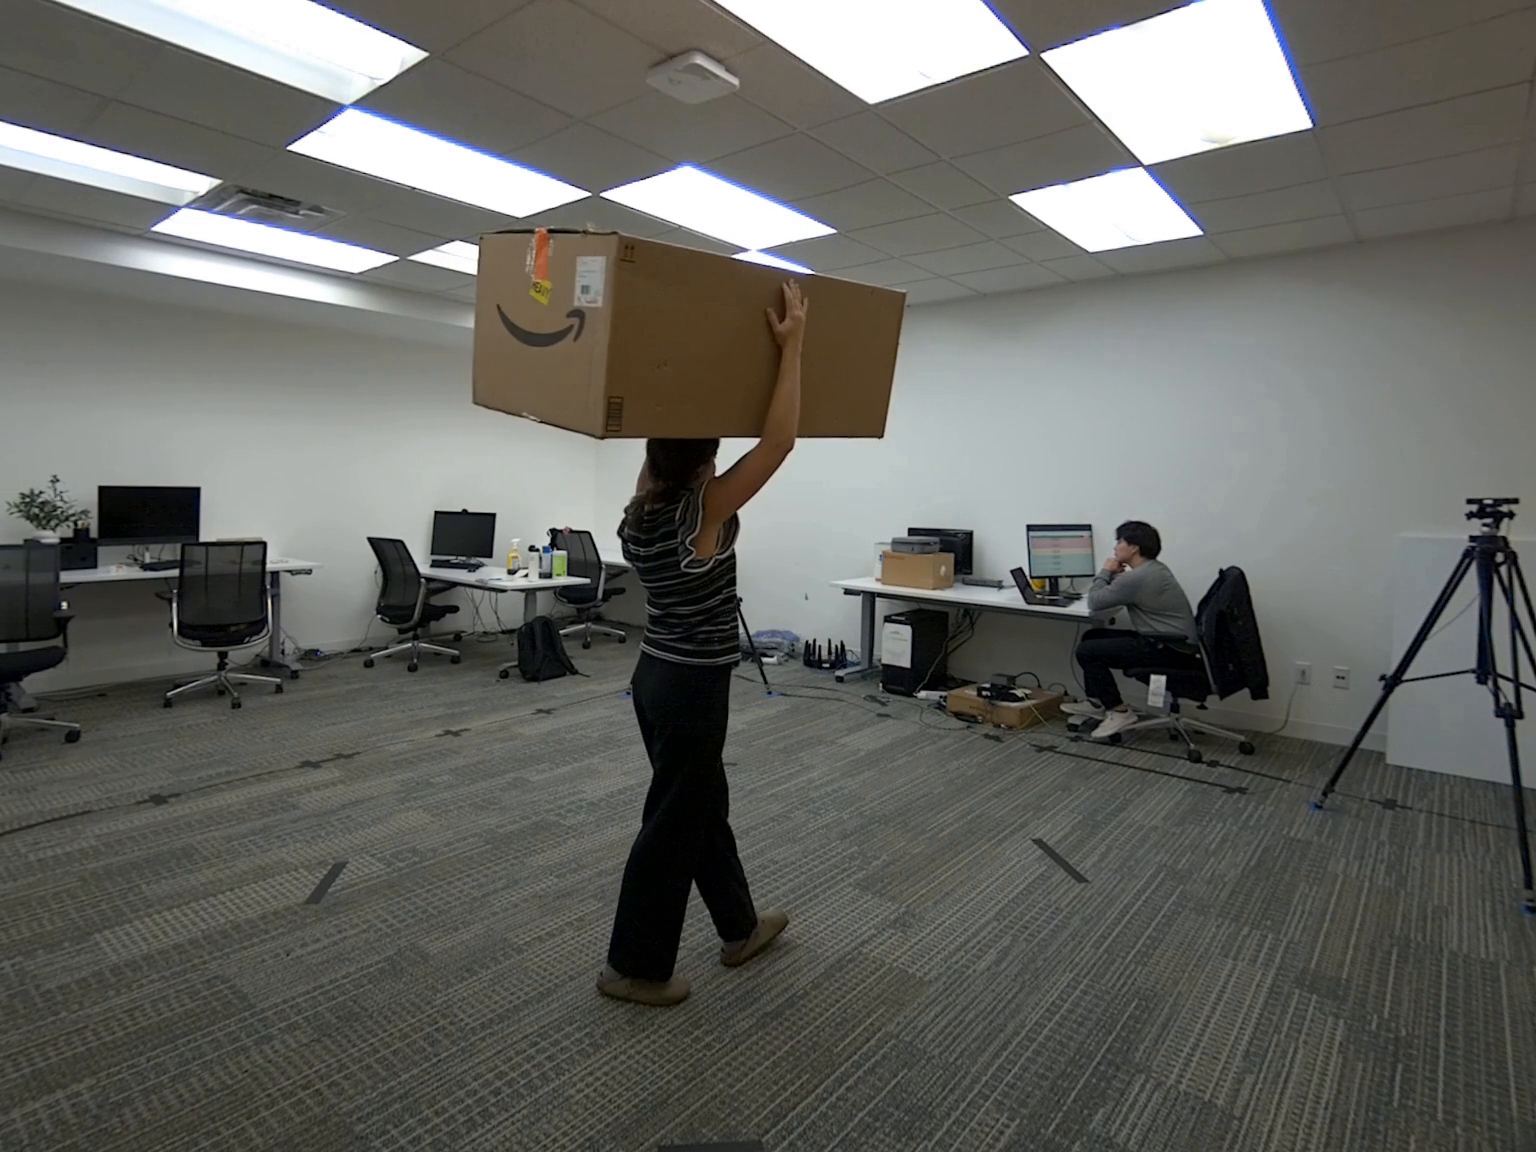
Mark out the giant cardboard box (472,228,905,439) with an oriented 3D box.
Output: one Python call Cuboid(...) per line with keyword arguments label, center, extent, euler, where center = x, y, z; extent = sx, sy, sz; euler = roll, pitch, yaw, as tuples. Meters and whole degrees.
Cuboid(label="giant cardboard box", center=(-0.195, -0.625, 2.301), extent=(0.600, 0.421, 0.998), euler=(20, 20, 41))
